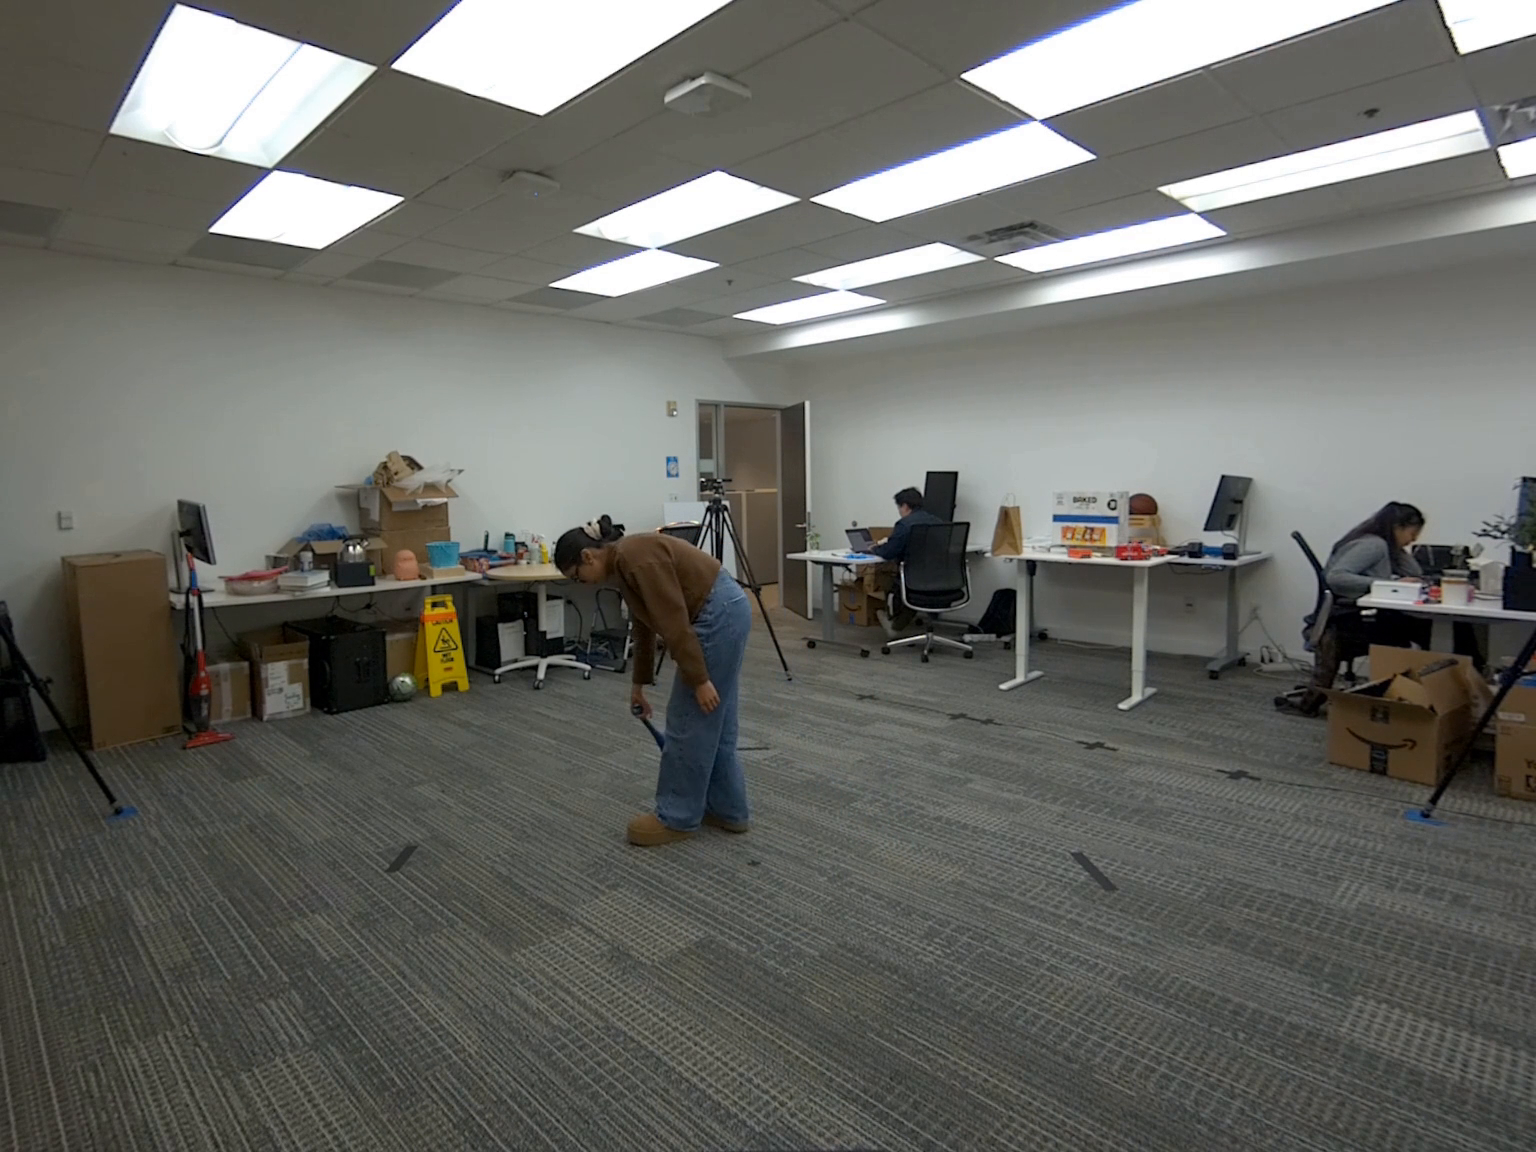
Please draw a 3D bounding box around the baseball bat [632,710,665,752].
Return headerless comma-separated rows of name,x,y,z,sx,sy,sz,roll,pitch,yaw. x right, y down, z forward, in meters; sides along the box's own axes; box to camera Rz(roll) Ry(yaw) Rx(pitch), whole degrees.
baseball bat,-0.452,0.756,3.802,0.090,0.524,0.091,-21,37,15
